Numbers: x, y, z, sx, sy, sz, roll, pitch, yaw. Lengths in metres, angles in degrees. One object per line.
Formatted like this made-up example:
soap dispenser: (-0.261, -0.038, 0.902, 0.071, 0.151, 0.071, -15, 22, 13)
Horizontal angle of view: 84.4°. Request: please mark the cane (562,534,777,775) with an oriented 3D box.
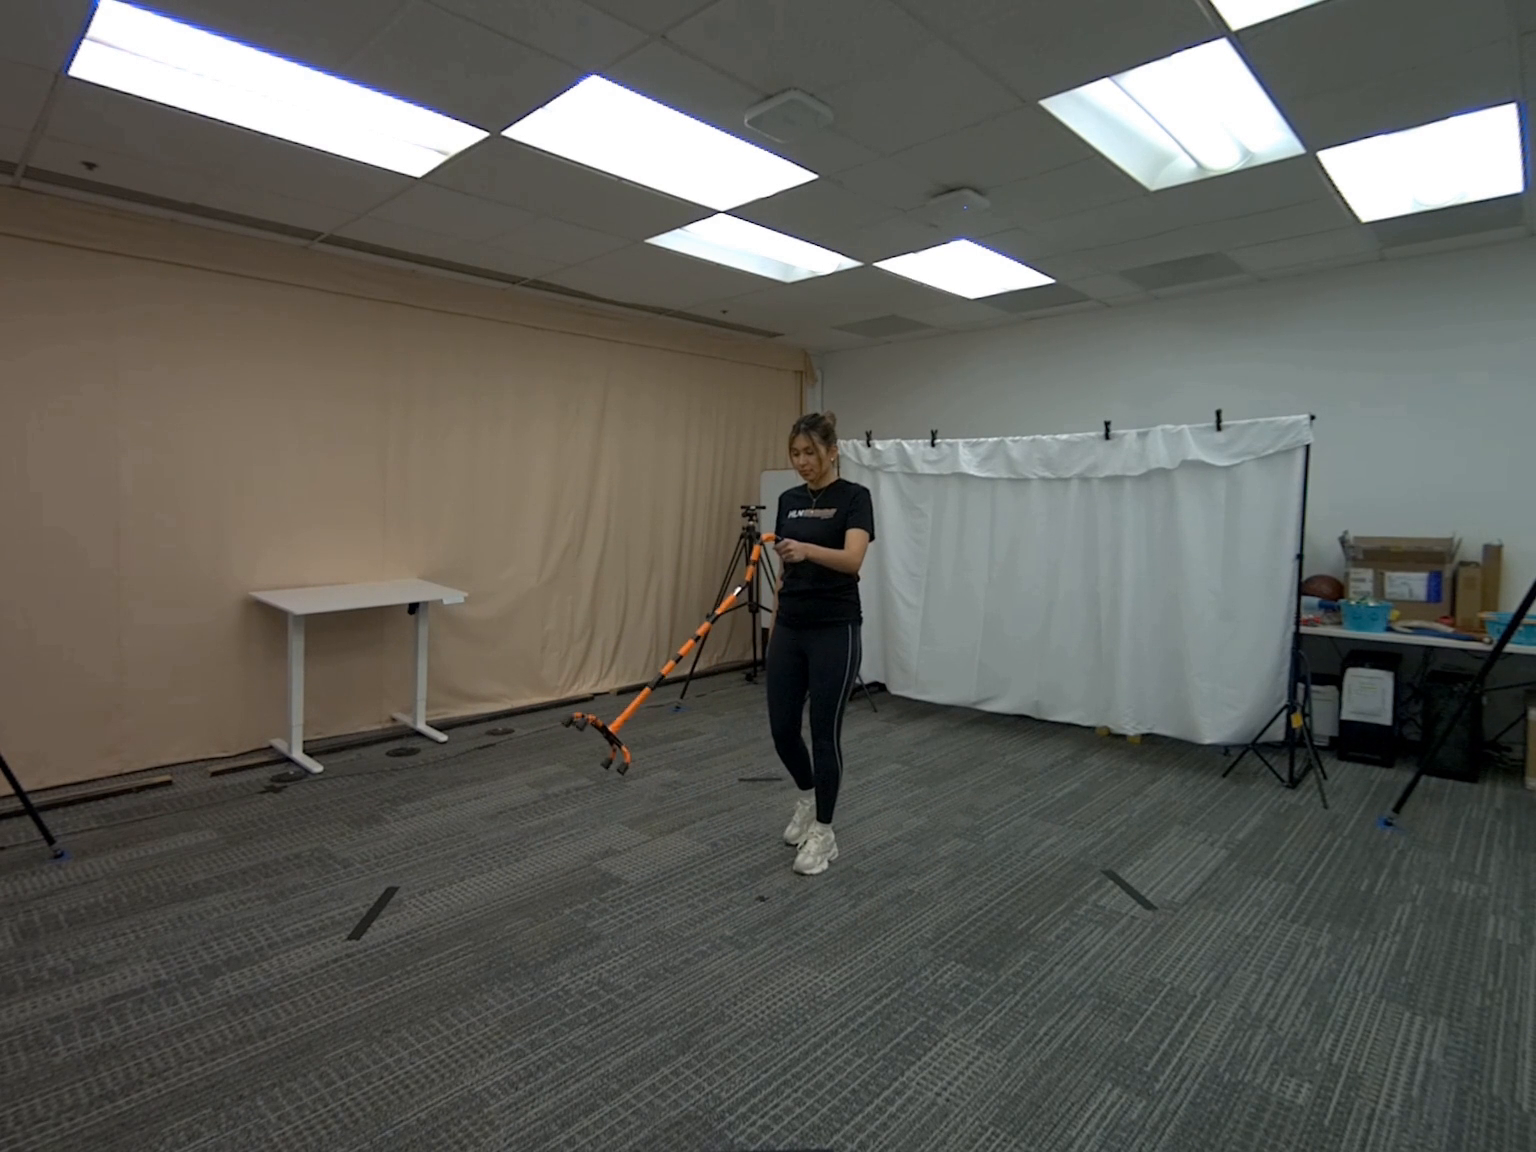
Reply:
cane: (-0.219, 0.213, 2.586, 0.903, 0.202, 0.156, -49, 24, -25)
